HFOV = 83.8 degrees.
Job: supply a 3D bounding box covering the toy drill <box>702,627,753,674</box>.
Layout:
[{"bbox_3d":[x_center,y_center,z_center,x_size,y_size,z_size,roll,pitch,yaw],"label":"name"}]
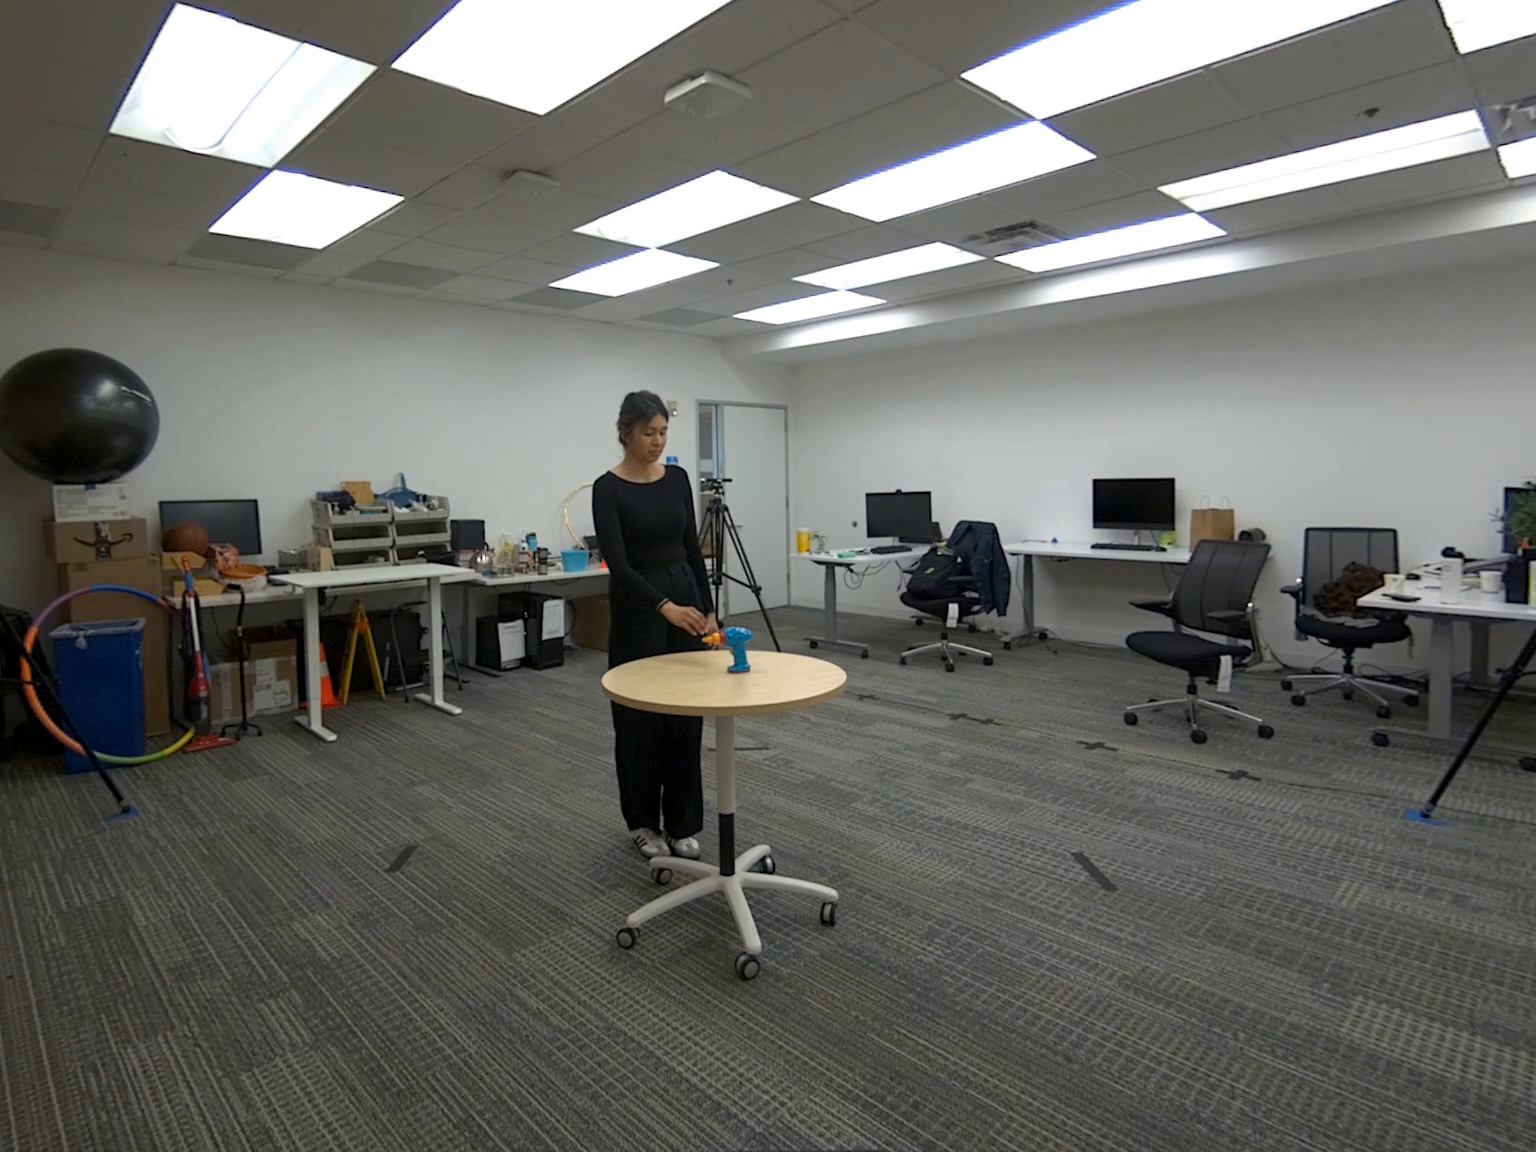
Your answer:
[{"bbox_3d":[-0.129,0.235,2.713,0.167,0.146,0.062,-3,0,-16],"label":"toy drill"}]
